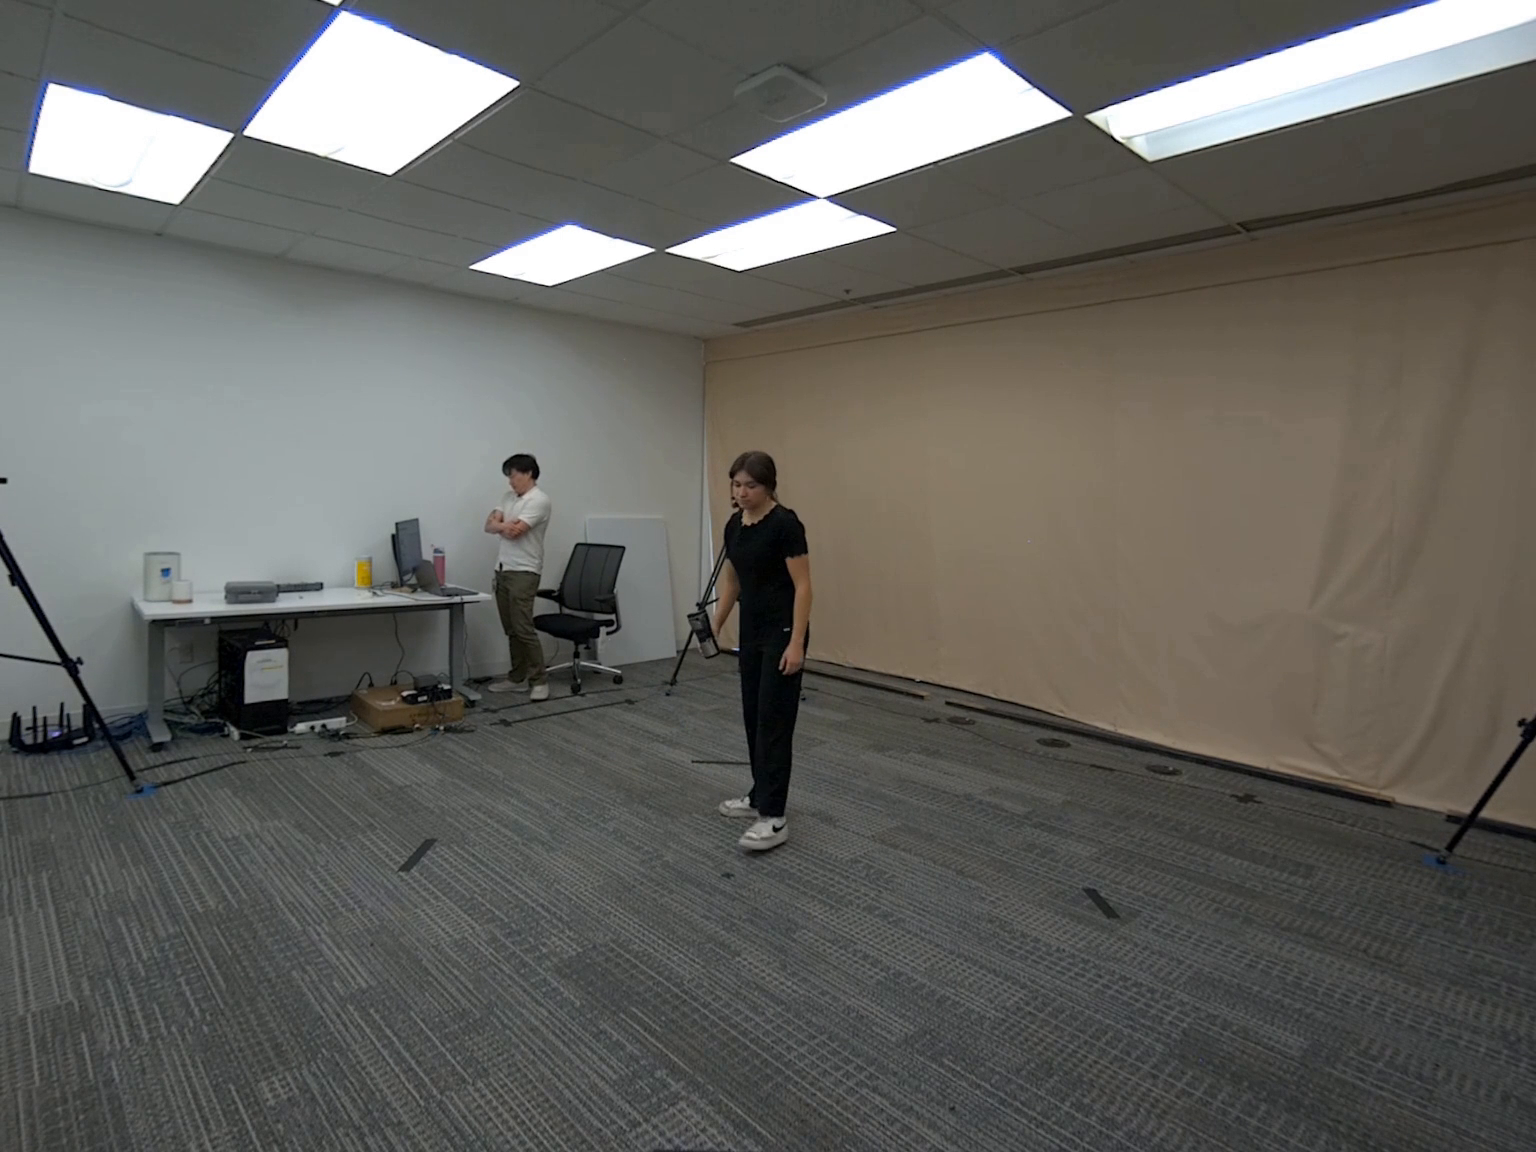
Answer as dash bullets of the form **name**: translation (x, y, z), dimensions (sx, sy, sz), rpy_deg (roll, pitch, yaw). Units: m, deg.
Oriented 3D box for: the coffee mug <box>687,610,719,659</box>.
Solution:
- **coffee mug**: translation (-0.276, 0.249, 3.530), dimensions (0.089, 0.202, 0.121), rpy_deg (-17, 3, 21)
